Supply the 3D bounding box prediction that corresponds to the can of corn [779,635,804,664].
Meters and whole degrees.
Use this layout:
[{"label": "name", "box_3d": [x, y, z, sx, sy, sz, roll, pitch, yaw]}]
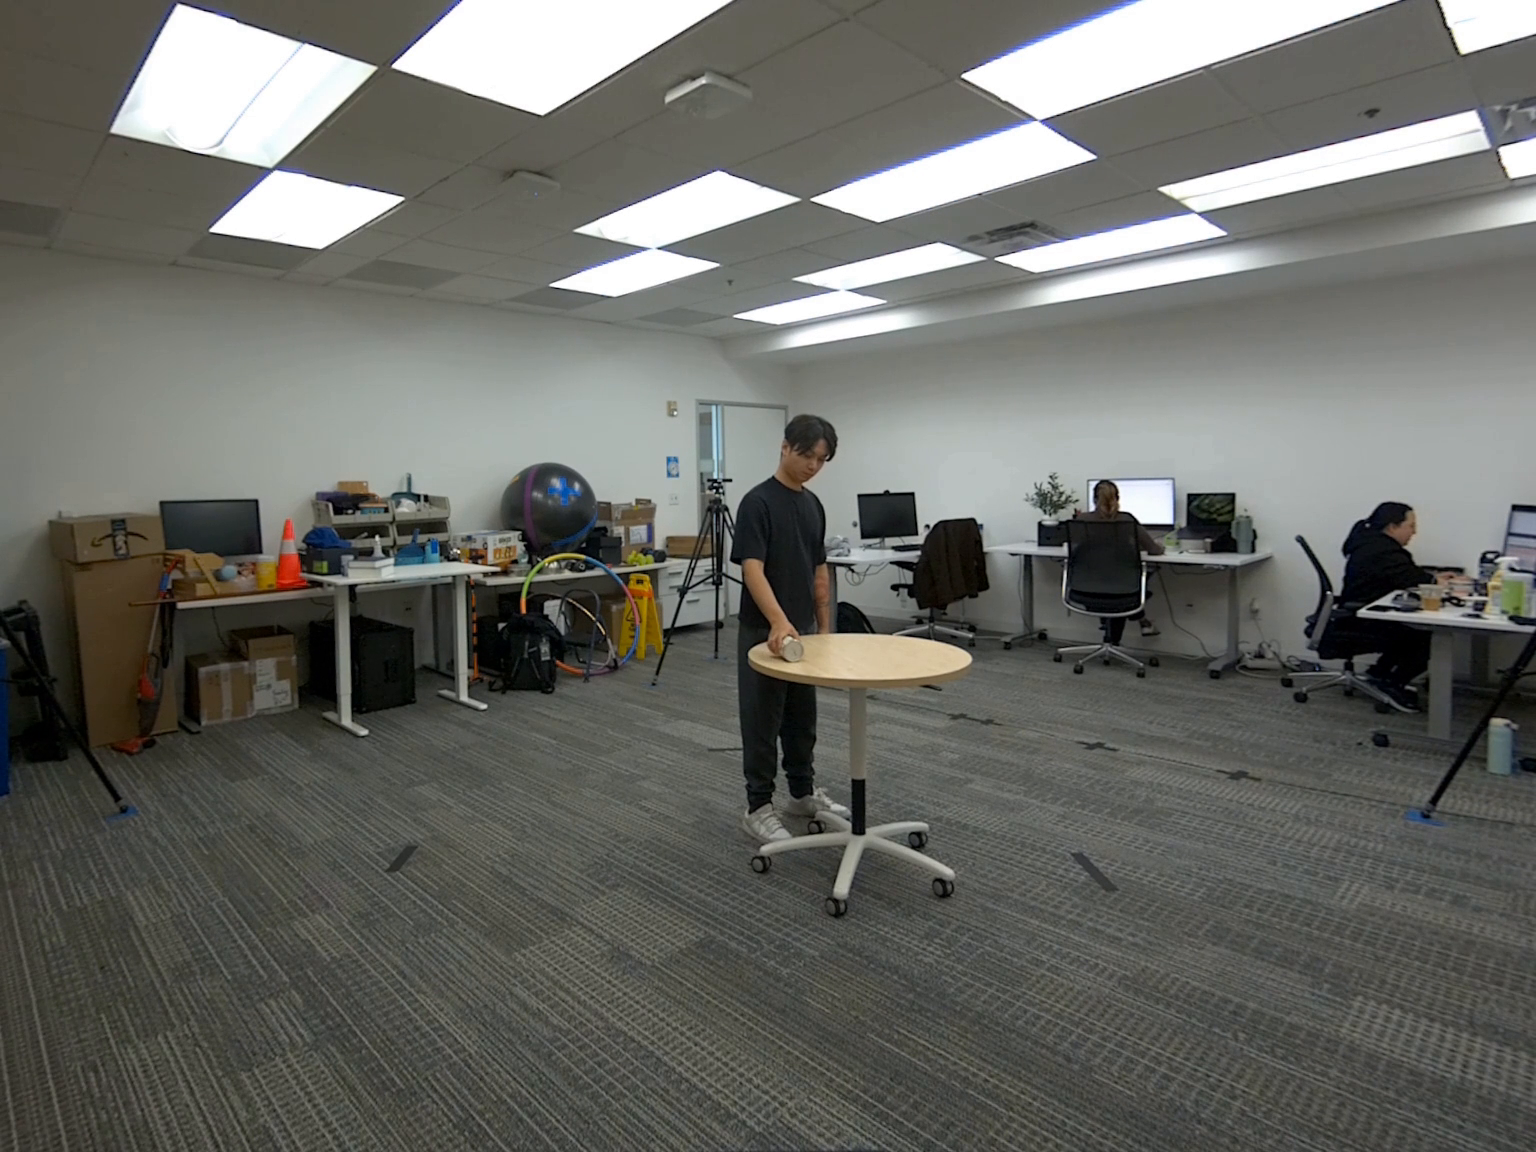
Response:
[{"label": "can of corn", "box_3d": [0.065, 0.247, 2.901, 0.073, 0.074, 0.112, -2, 4, -11]}]
